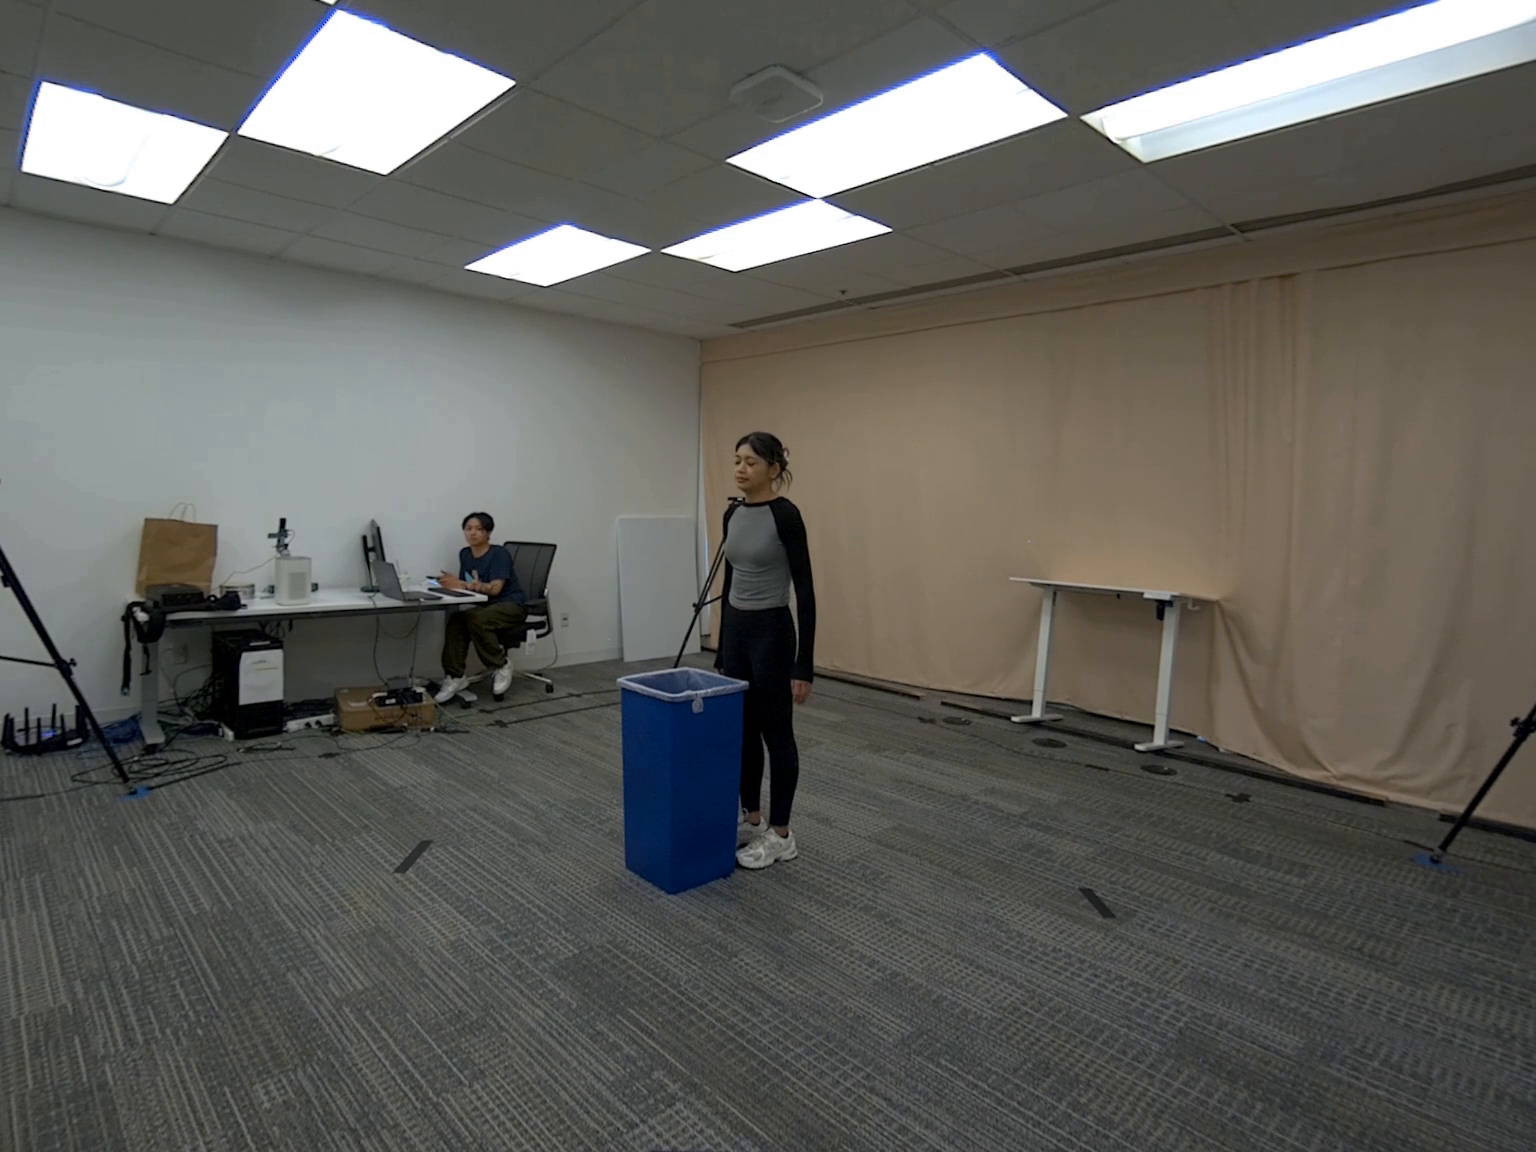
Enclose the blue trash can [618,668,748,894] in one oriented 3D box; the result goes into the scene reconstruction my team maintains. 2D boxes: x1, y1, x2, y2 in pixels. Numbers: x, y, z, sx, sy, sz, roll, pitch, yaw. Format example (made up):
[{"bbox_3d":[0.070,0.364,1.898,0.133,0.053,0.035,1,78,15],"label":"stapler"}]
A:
[{"bbox_3d":[-0.336,0.744,3.132,0.369,0.712,0.383,-2,4,-42],"label":"blue trash can"}]
